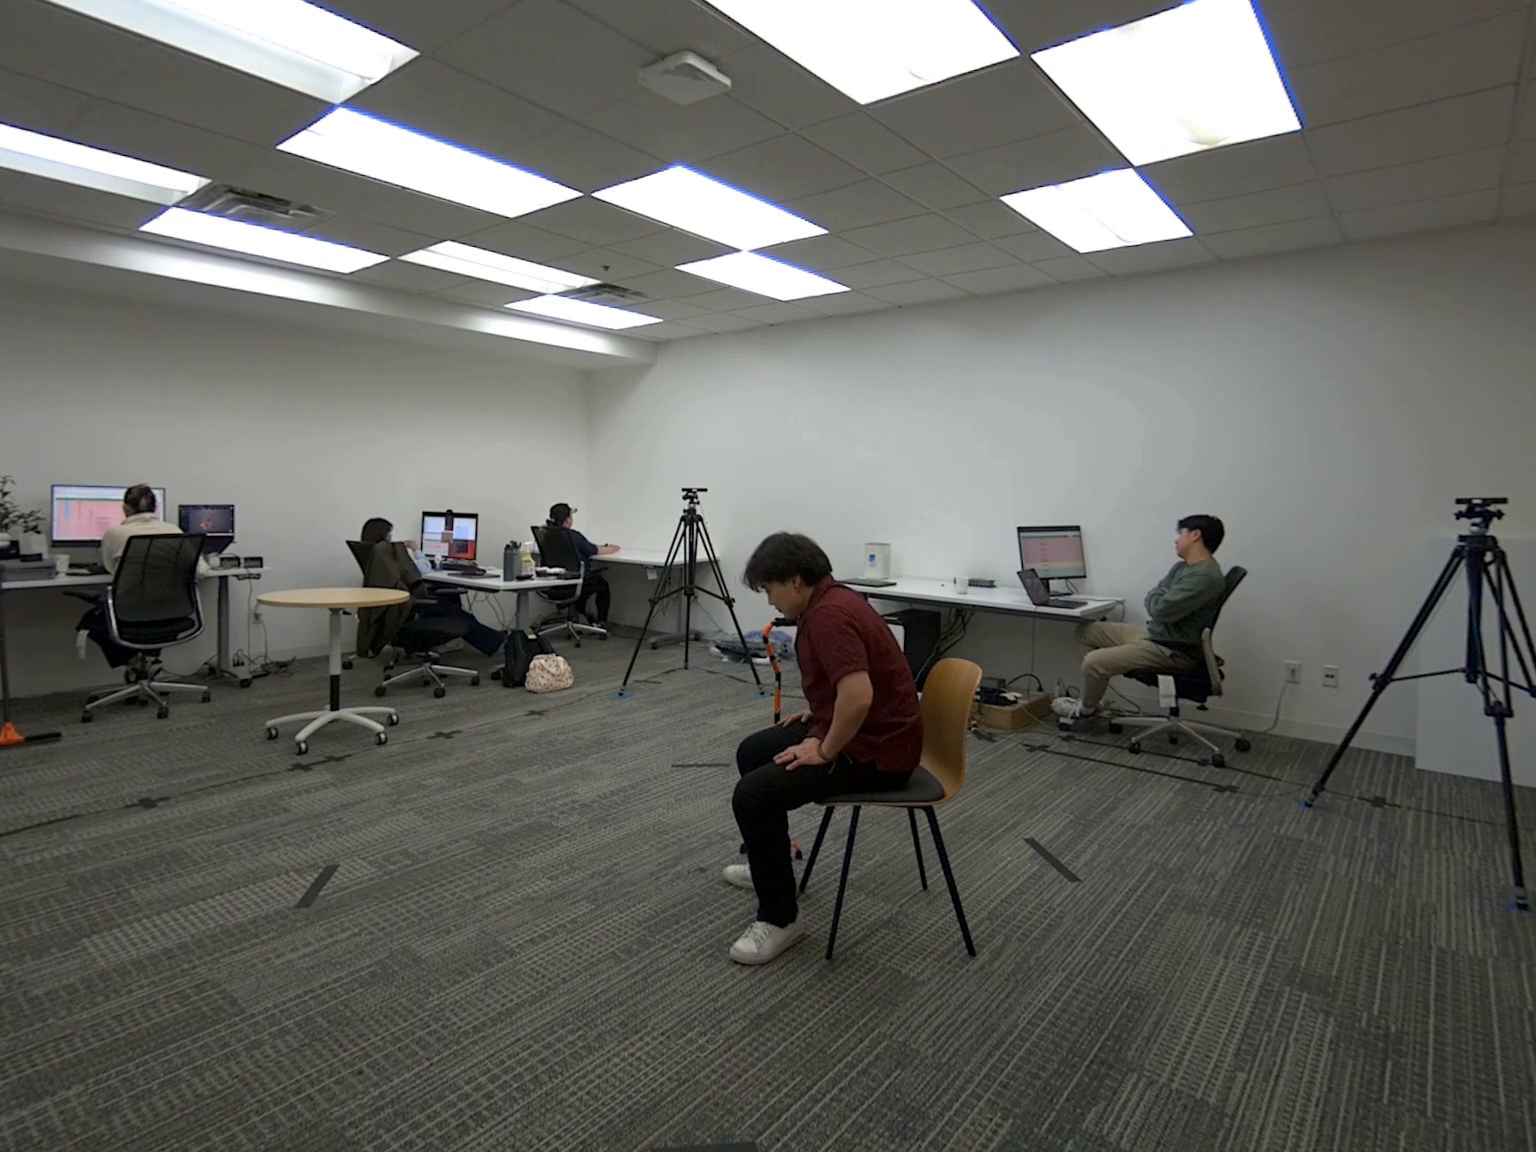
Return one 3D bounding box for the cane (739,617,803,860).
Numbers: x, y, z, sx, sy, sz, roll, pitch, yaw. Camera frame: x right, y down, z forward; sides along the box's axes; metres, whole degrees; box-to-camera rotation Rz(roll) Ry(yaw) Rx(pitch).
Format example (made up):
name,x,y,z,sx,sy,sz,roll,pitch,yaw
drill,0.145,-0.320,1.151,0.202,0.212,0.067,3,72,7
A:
name,x,y,z,sx,sy,sz,roll,pitch,yaw
cane,0.019,0.603,3.213,0.201,0.905,0.156,0,3,-27
